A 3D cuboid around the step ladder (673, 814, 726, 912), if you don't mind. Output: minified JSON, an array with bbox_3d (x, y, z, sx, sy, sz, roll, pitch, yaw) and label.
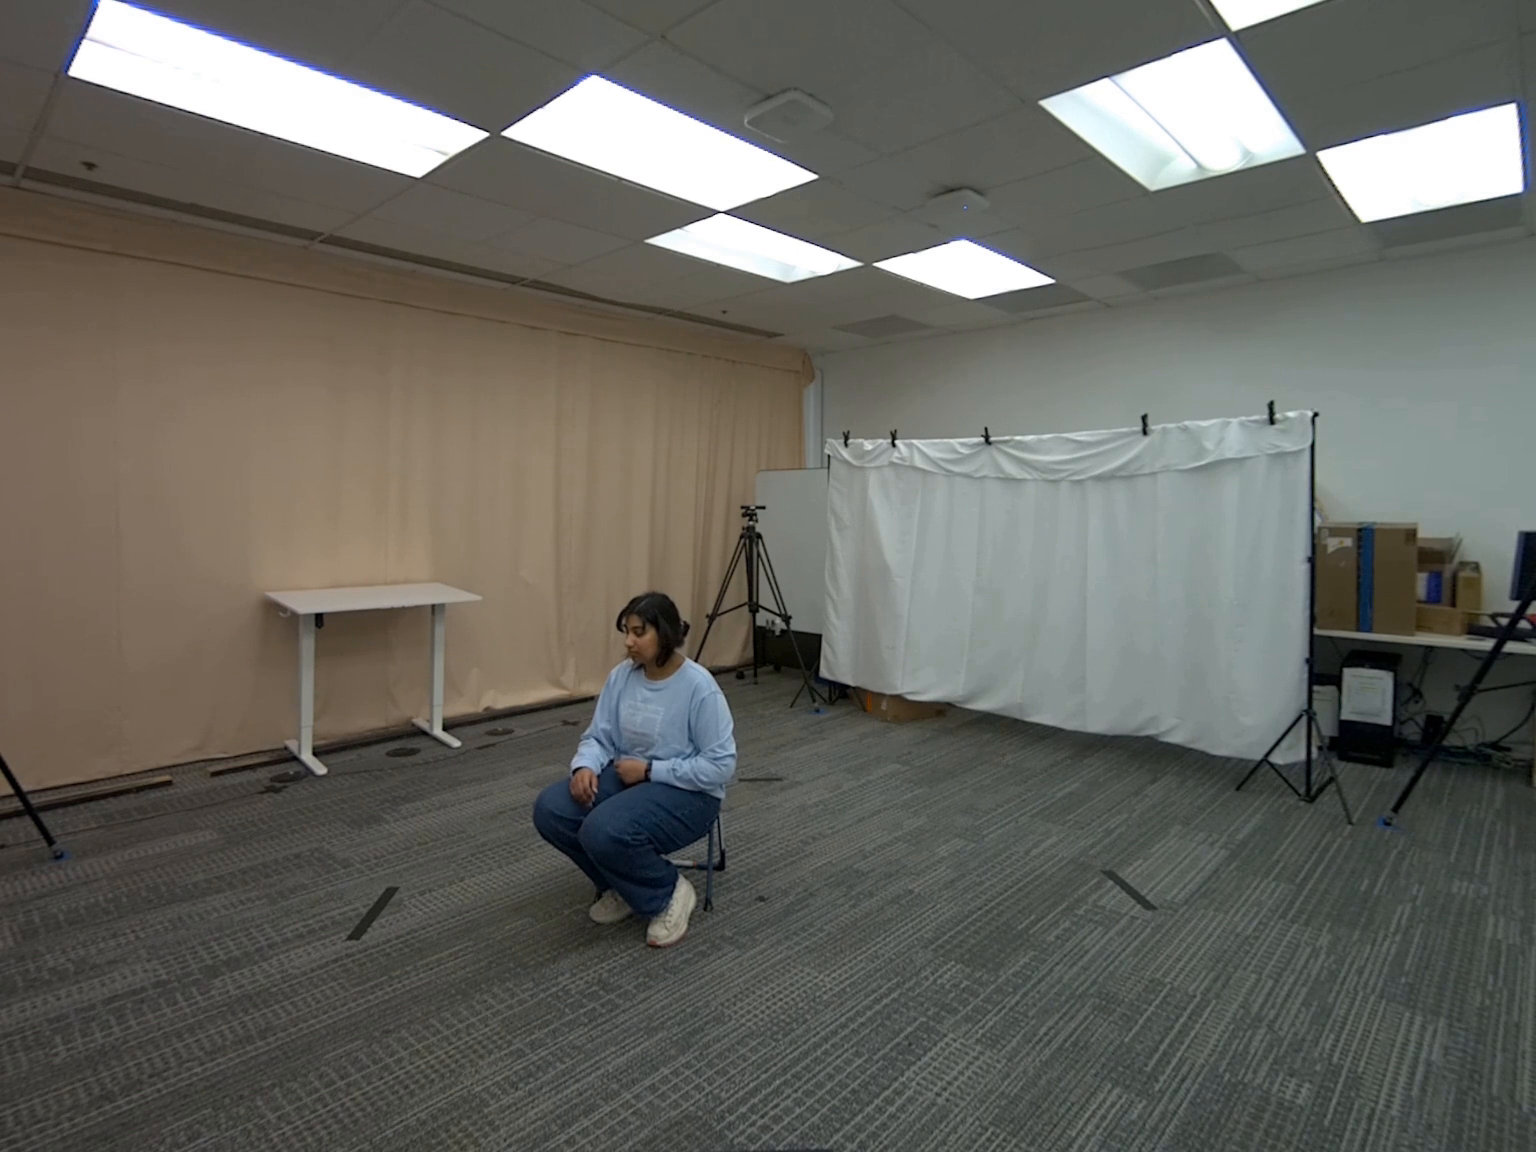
[{"bbox_3d":[-0.383,0.843,3.093,0.434,0.605,0.347,2,4,7],"label":"step ladder"}]
